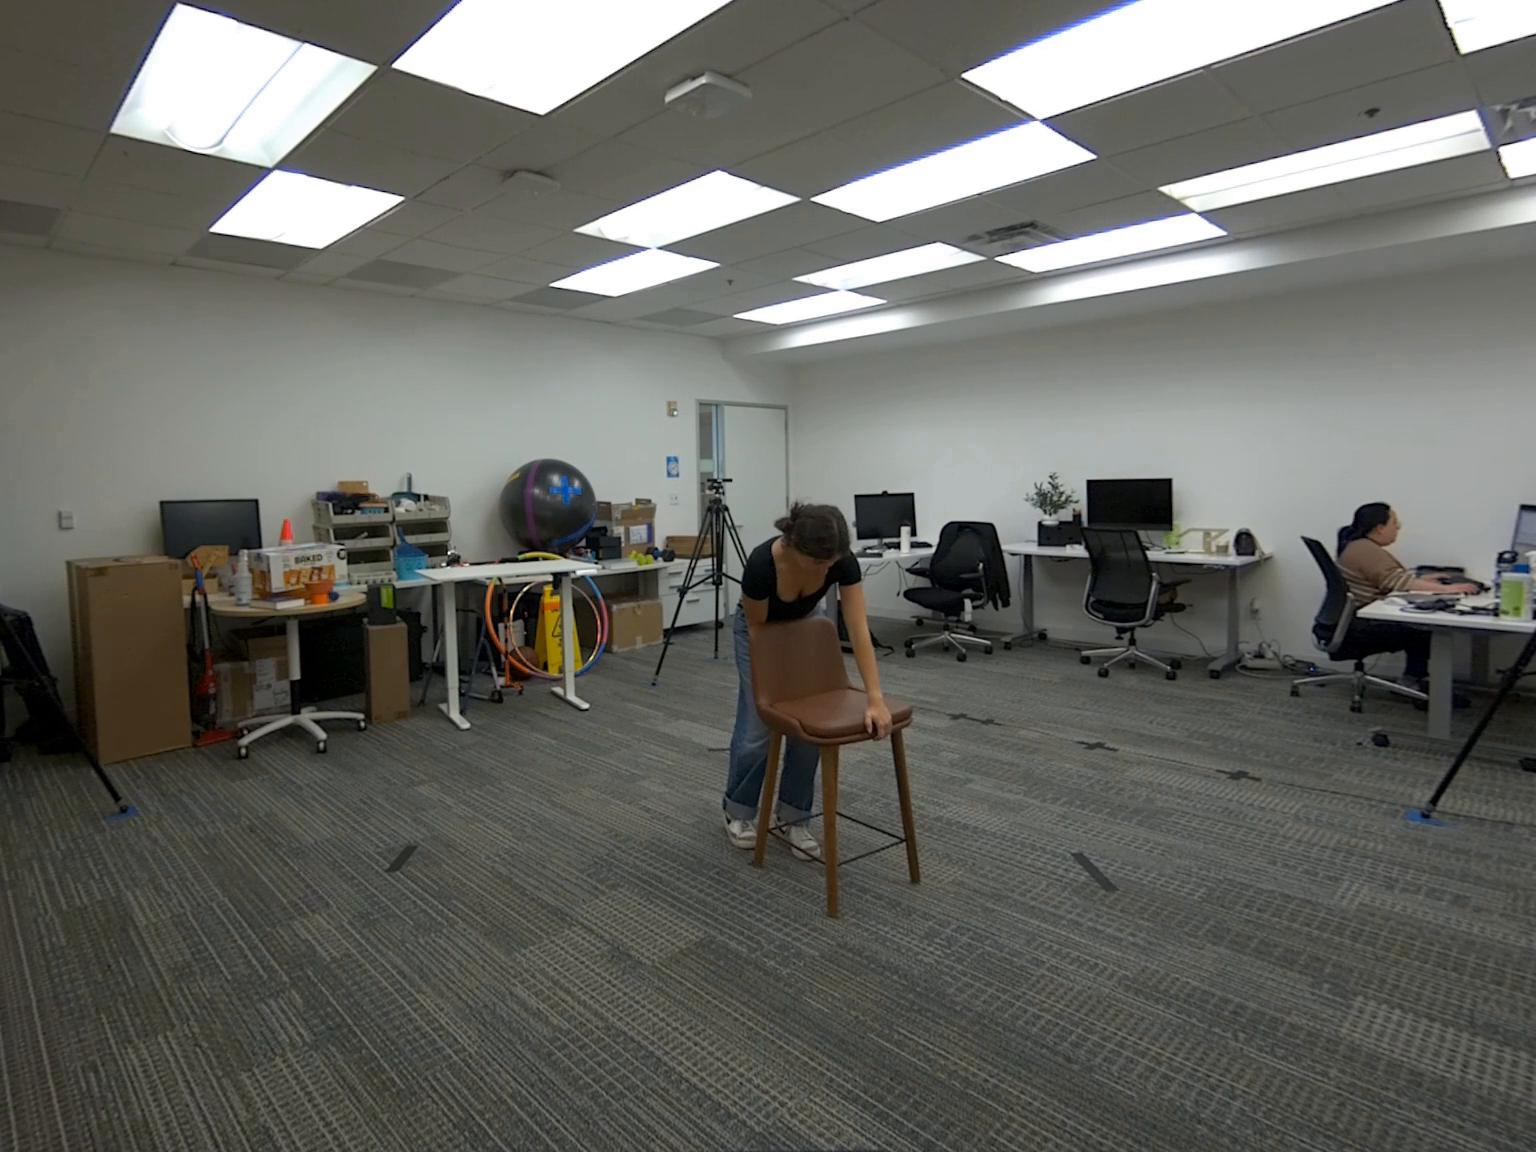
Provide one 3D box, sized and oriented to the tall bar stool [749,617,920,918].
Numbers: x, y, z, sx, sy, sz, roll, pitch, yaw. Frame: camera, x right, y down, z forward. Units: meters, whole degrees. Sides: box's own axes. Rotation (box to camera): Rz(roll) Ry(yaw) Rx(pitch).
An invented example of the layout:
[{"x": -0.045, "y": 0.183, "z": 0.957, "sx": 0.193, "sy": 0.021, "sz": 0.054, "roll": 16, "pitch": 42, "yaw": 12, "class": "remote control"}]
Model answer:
[{"x": 0.218, "y": 0.616, "z": 2.981, "sx": 0.444, "sy": 0.888, "sz": 0.481, "roll": -3, "pitch": 3, "yaw": -36, "class": "tall bar stool"}]
